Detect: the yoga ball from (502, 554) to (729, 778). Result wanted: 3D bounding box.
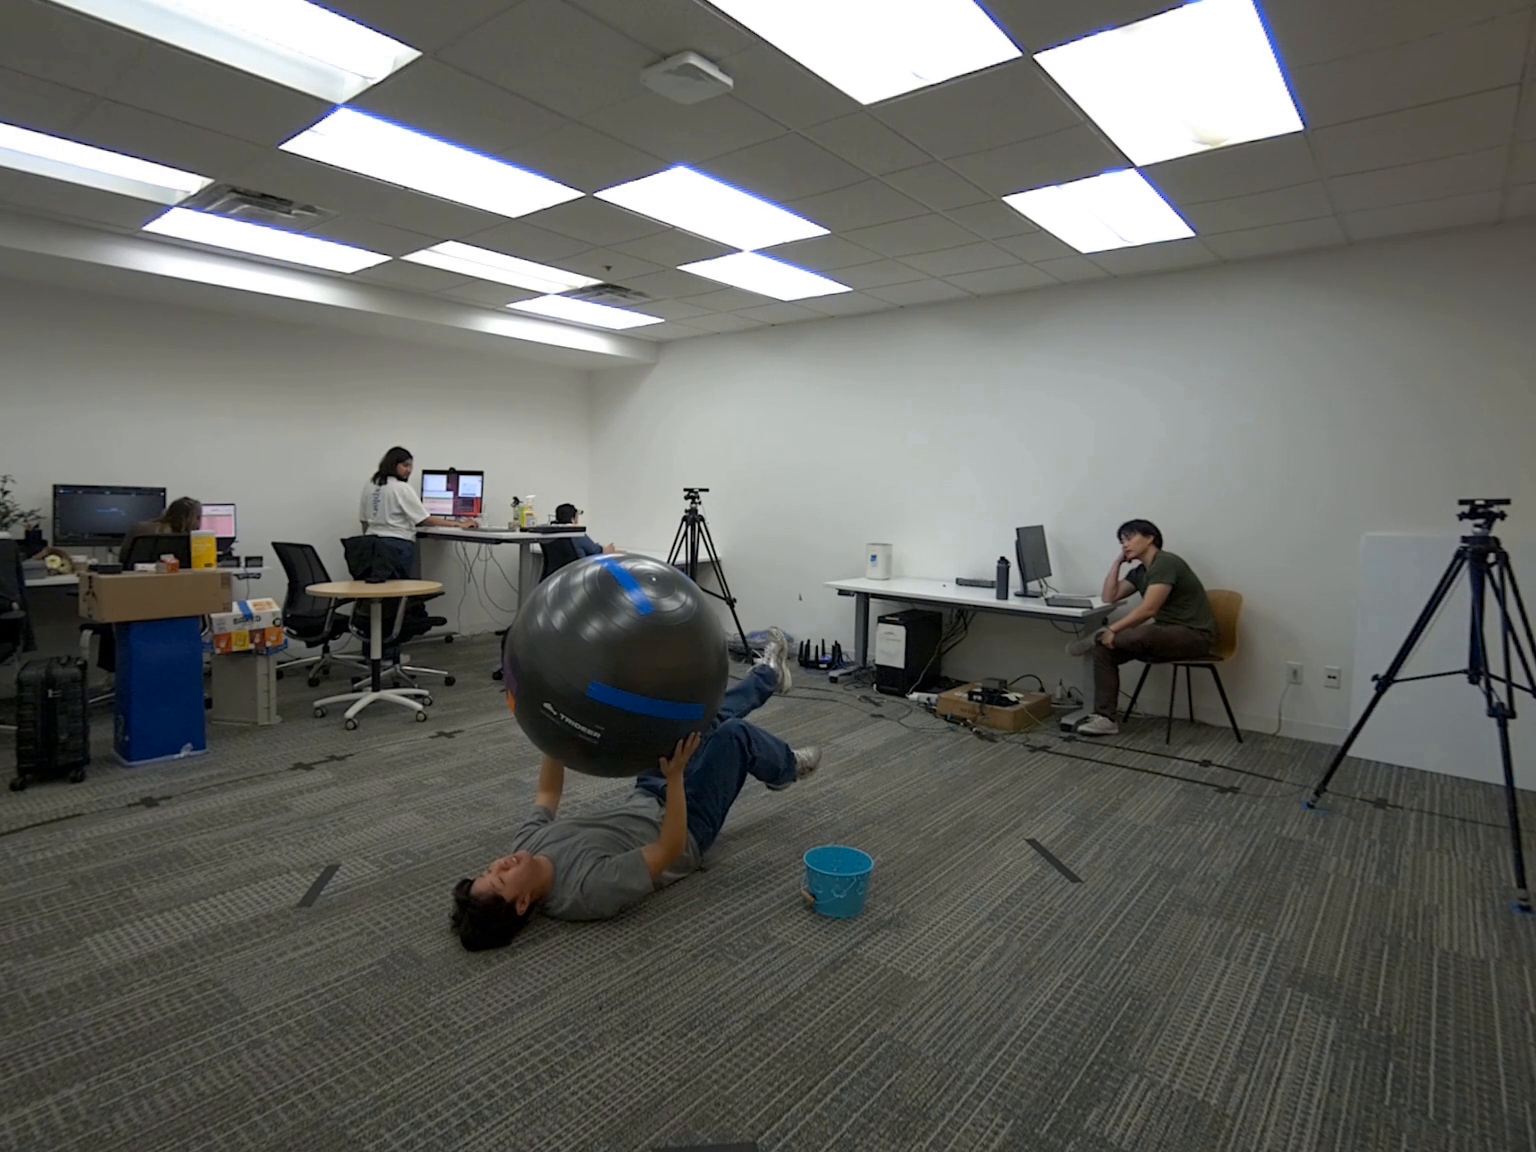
[{"bbox_3d":[-0.525,0.303,2.901,0.757,0.756,0.762,1,4,-2],"label":"yoga ball"}]
